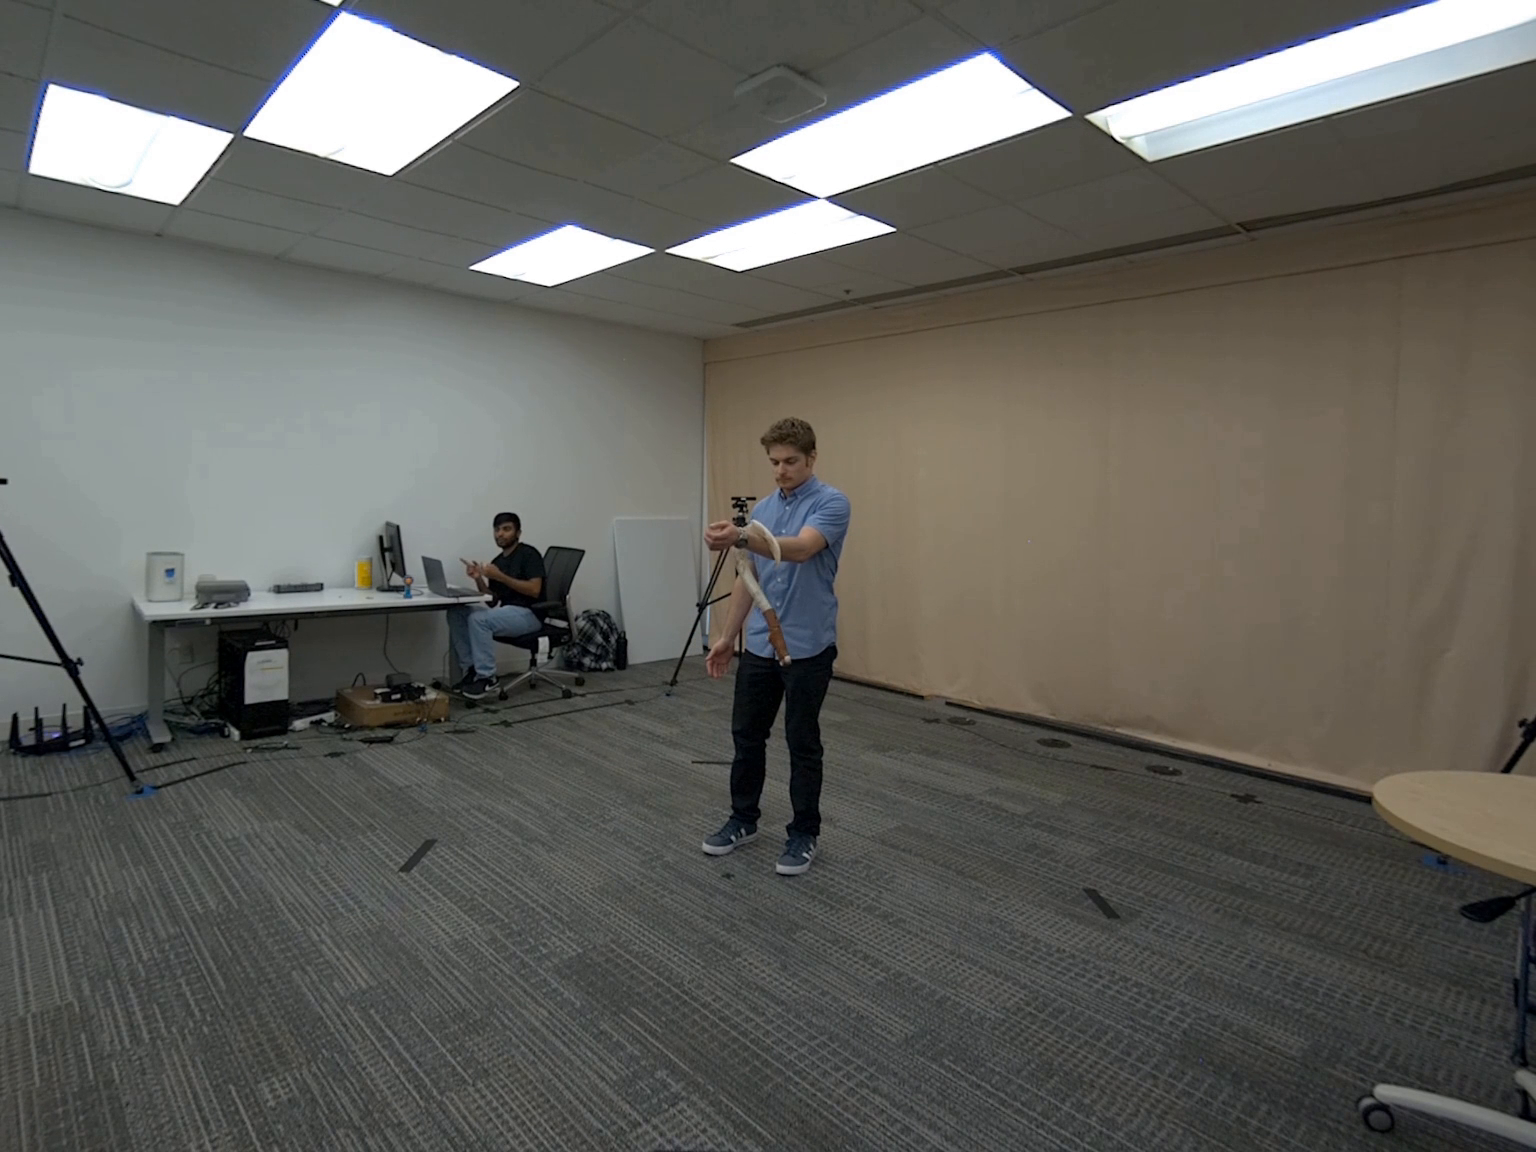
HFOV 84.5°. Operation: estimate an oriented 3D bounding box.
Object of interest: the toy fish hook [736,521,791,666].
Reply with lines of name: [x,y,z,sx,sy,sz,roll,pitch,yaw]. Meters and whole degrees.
toy fish hook: [-0.004,0.054,2.864,0.047,0.515,0.225,-5,-23,-35]
